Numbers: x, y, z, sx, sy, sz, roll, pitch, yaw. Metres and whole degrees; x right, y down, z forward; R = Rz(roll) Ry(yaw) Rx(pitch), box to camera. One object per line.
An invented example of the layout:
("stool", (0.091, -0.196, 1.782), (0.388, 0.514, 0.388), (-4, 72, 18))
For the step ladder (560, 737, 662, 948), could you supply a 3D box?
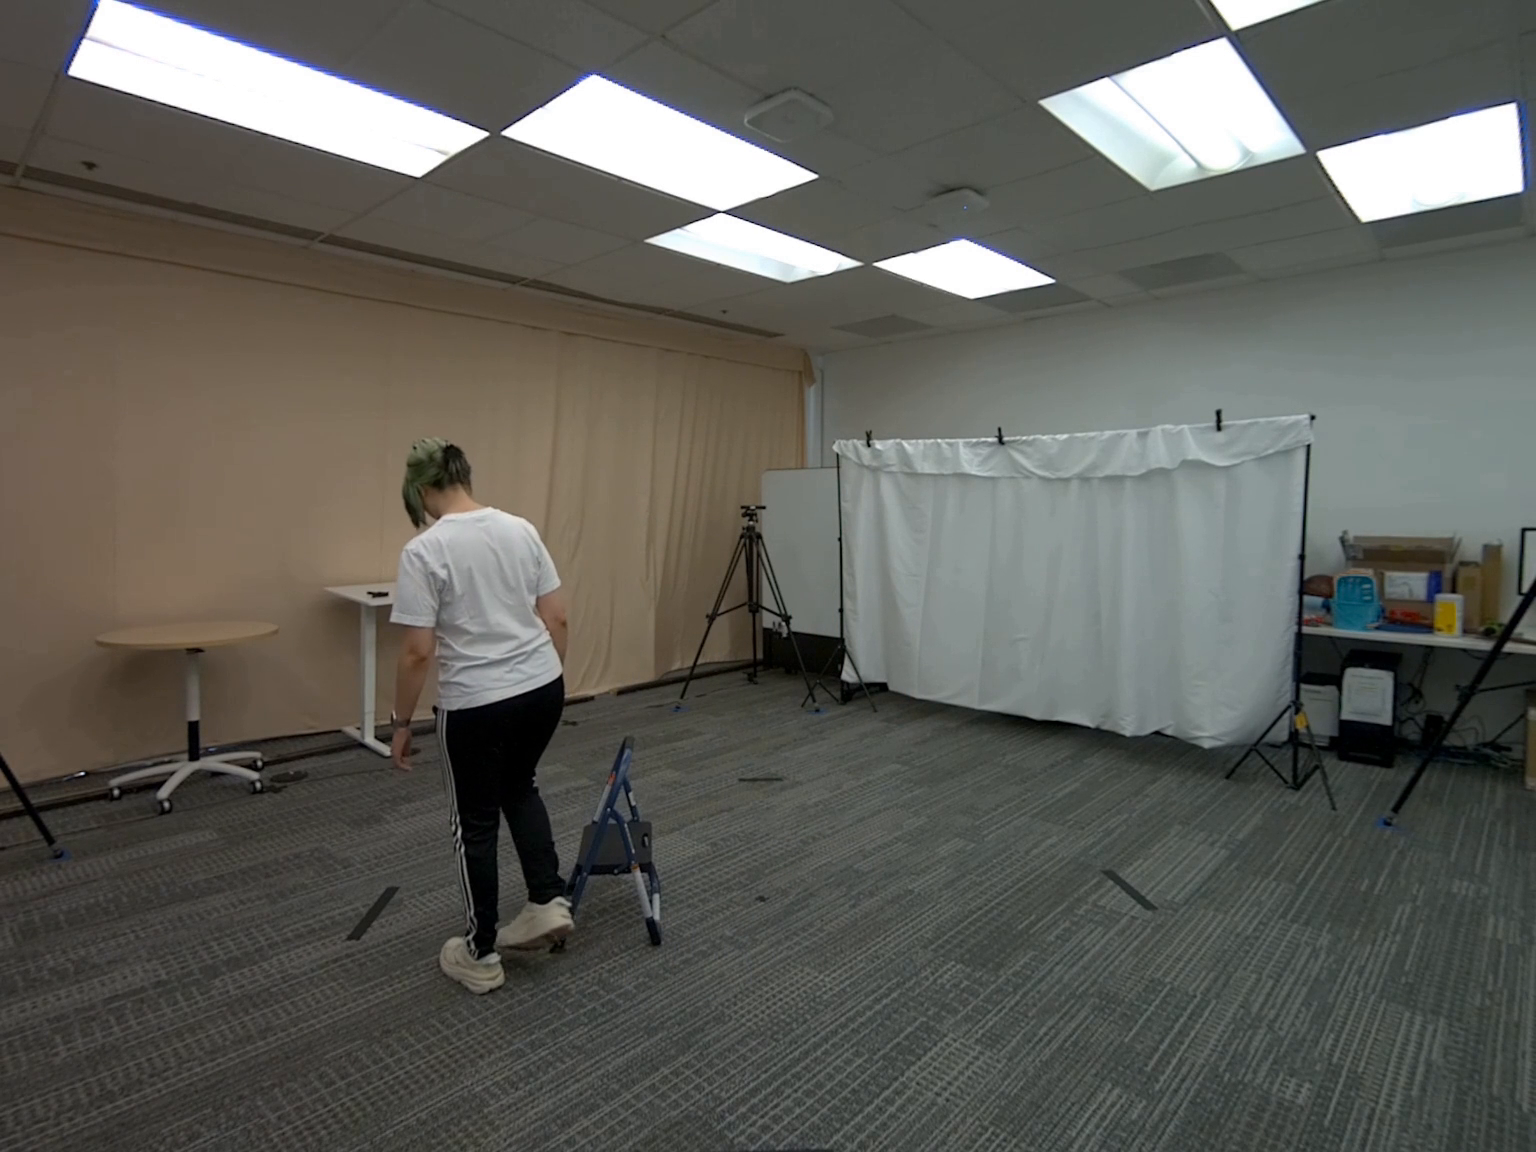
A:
("step ladder", (-0.539, 0.861, 2.840), (0.347, 0.604, 0.435), (-2, 4, -7))
